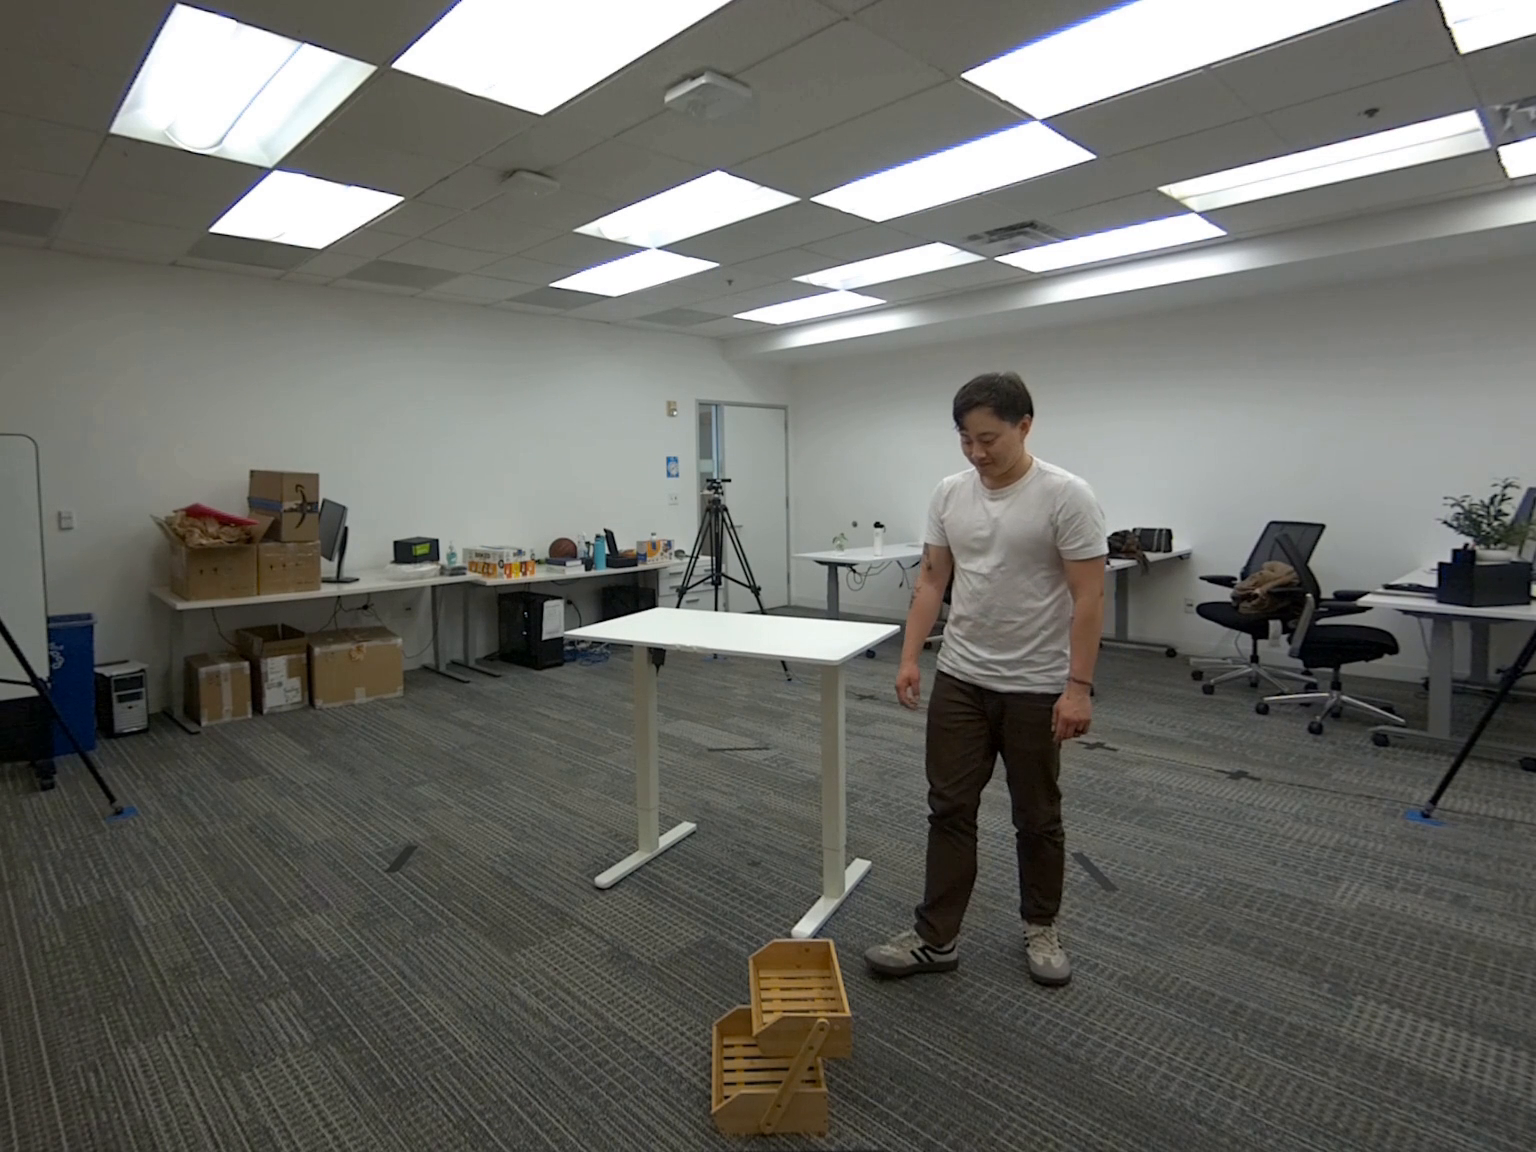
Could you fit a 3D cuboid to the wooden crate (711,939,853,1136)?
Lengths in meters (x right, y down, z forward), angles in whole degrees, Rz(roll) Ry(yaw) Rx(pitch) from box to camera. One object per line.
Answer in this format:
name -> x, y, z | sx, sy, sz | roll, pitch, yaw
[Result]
wooden crate -> 0.022, 1.047, 1.959 | 0.301, 0.272, 0.327 | -1, 5, -3
